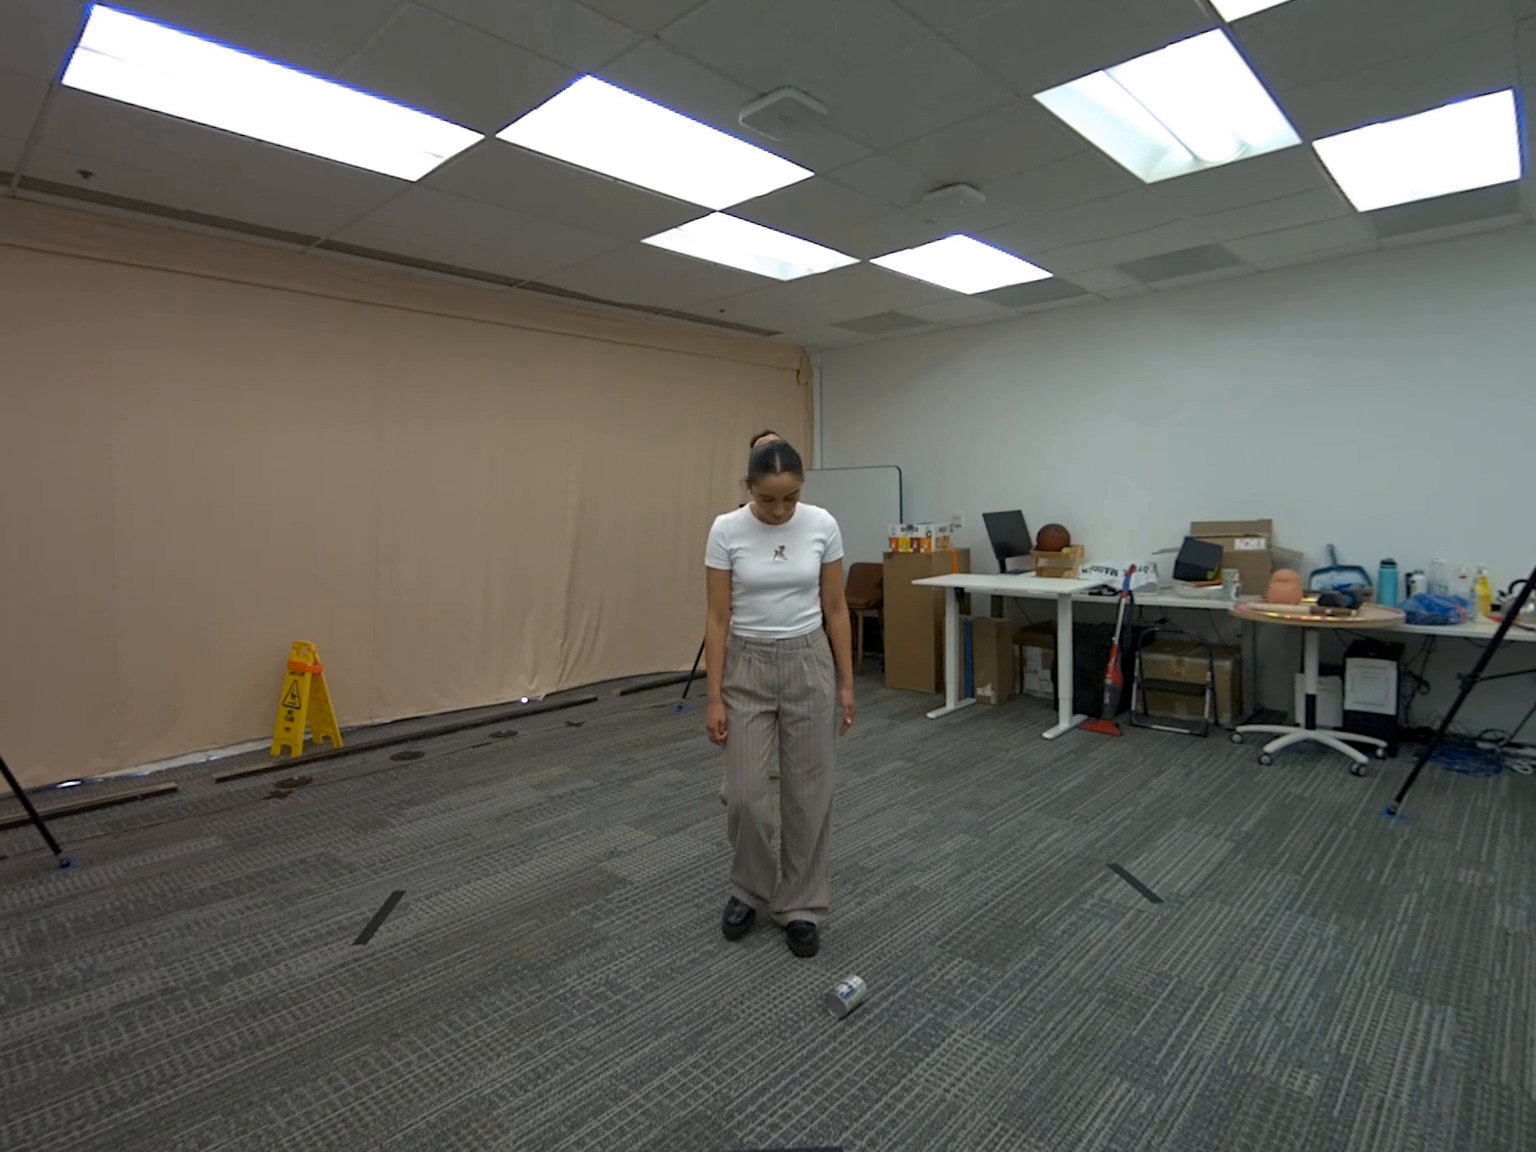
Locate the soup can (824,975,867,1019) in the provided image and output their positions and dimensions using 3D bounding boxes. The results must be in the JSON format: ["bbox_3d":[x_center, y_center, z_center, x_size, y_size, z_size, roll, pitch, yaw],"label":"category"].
[{"bbox_3d":[0.217,1.147,2.324,0.069,0.067,0.118,2,10,35],"label":"soup can"}]
